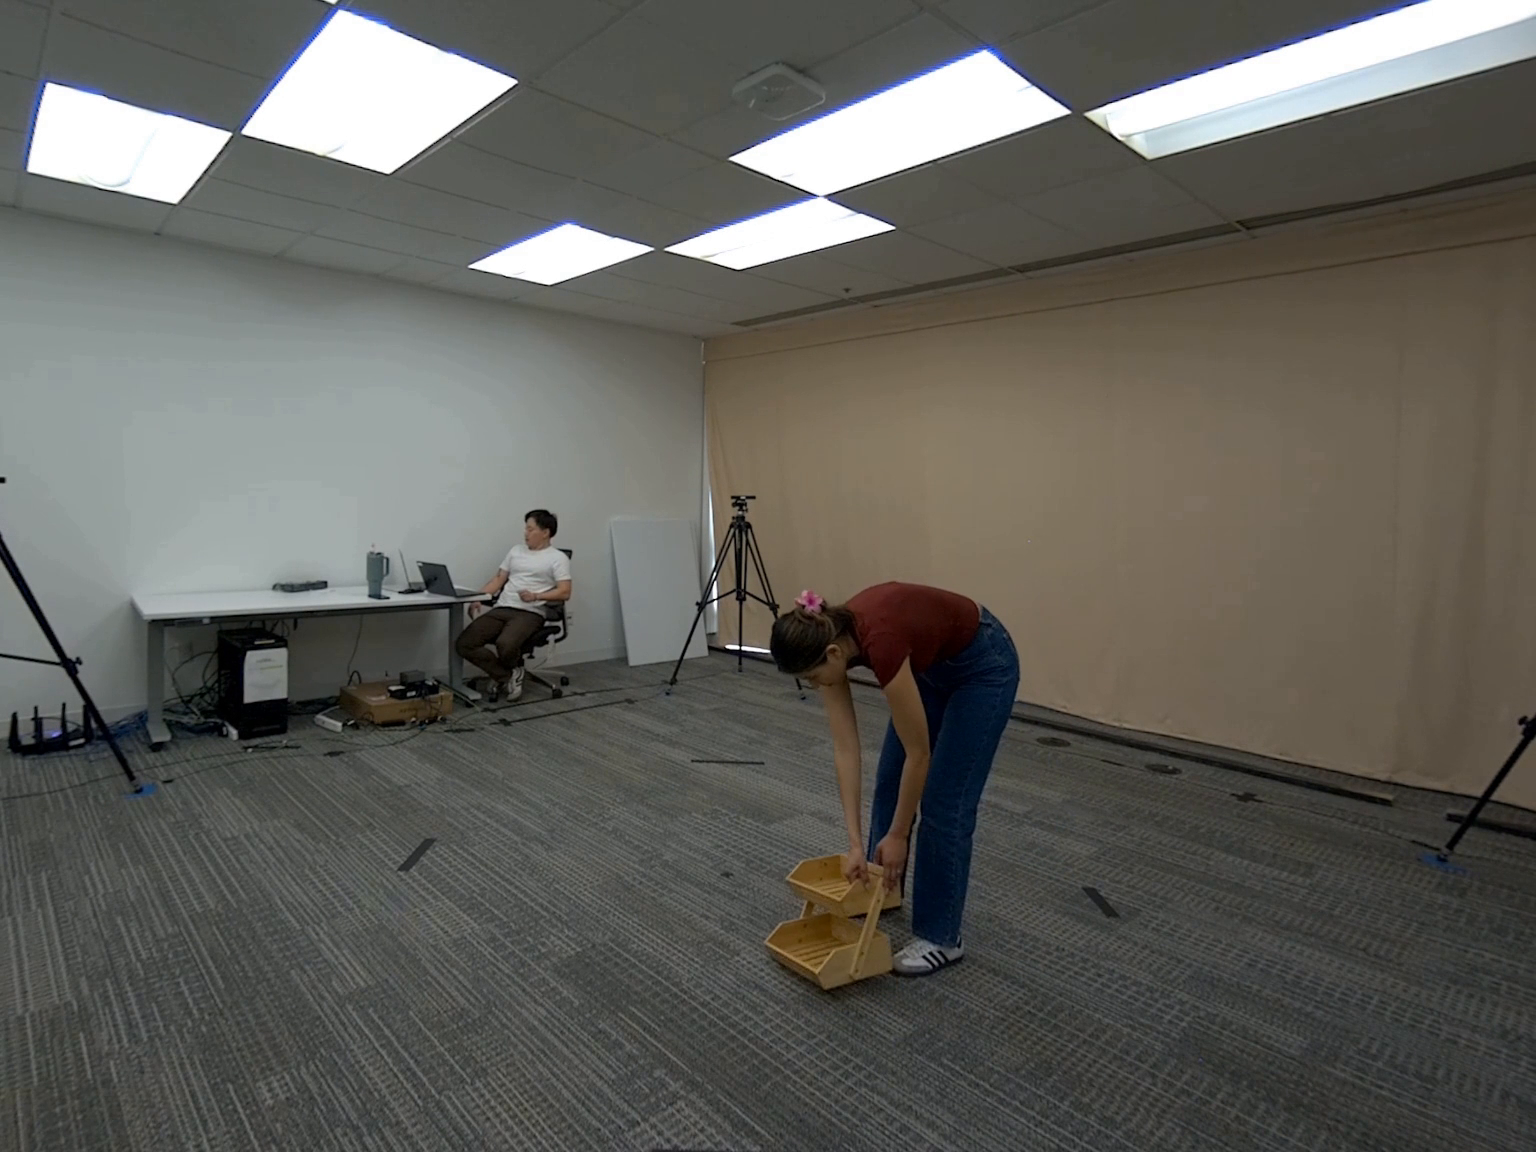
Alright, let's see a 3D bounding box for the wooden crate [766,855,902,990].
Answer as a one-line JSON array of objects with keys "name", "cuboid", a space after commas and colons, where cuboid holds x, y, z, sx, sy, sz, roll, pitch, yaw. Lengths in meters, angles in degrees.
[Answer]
[{"name": "wooden crate", "cuboid": [0.178, 1.007, 2.493, 0.296, 0.275, 0.329, 0, -7, -29]}]
